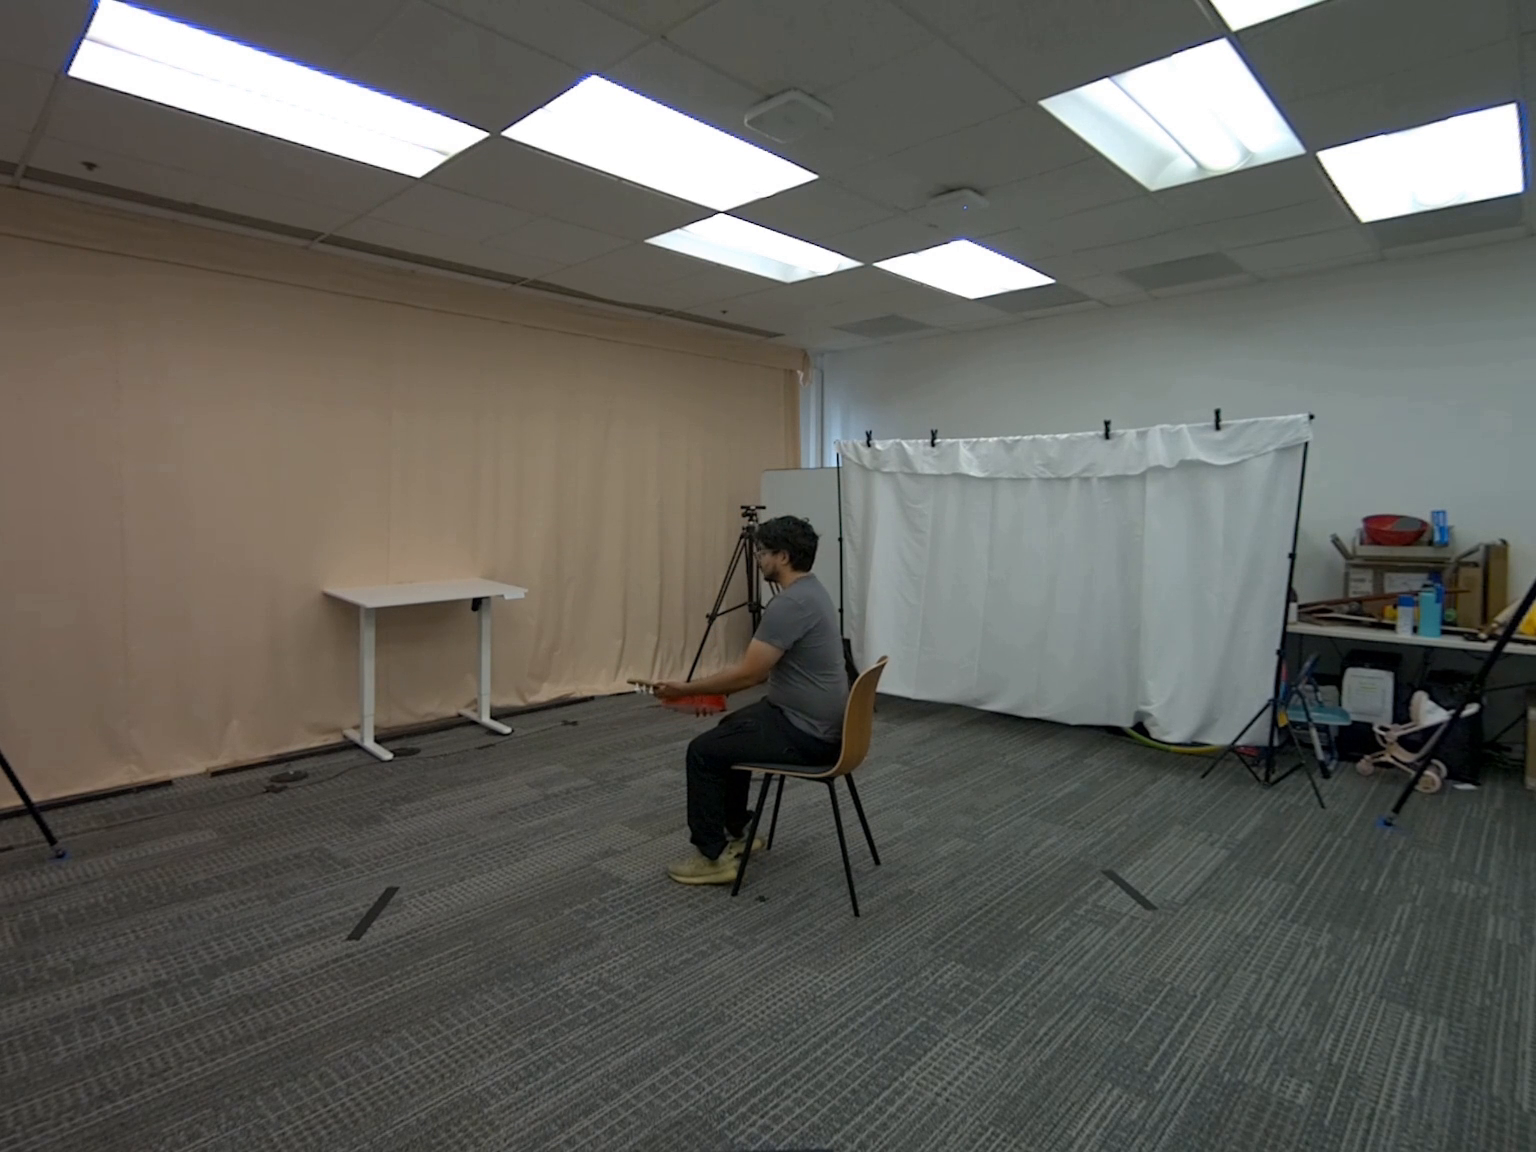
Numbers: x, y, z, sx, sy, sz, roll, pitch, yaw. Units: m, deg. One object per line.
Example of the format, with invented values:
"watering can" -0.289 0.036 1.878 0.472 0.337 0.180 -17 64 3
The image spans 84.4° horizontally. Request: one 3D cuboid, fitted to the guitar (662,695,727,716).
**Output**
"guitar" -0.381 0.463 3.201 0.198 0.071 0.480 -17 -26 40
